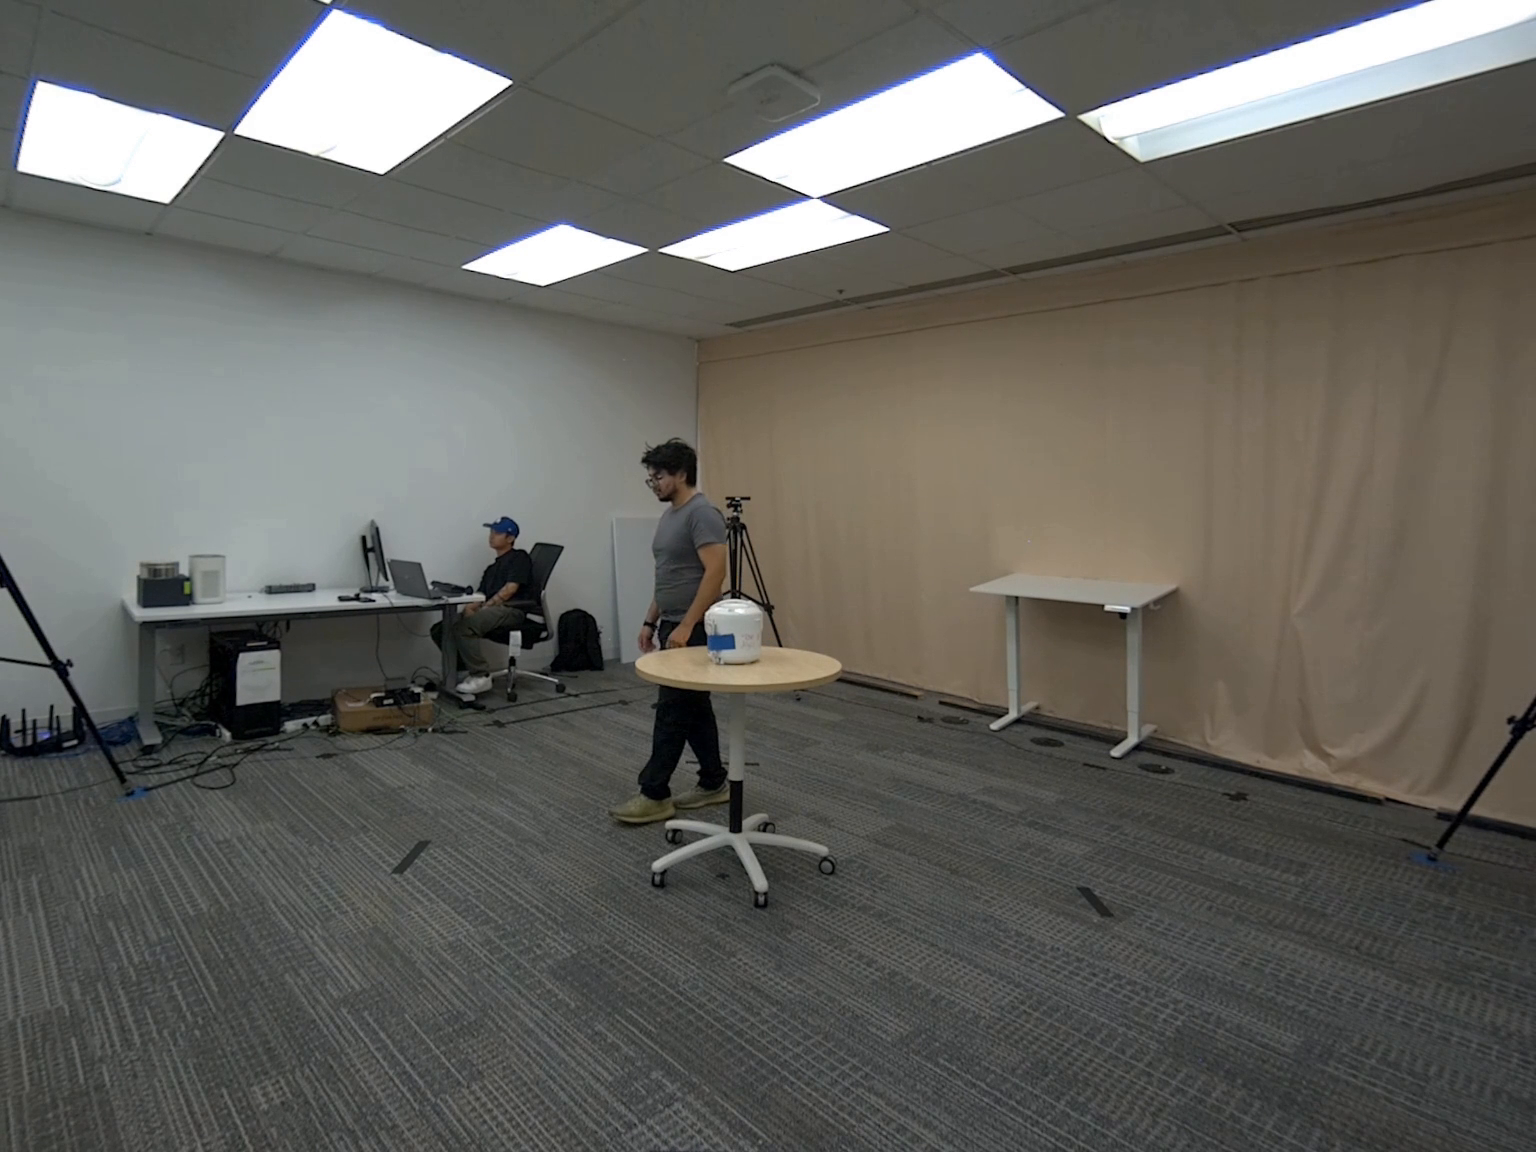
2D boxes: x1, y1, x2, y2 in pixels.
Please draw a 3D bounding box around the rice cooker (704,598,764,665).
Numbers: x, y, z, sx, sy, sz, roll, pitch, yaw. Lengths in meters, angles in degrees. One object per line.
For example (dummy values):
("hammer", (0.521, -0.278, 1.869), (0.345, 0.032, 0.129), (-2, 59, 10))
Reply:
("rice cooker", (-0.135, 0.204, 3.175), (0.220, 0.232, 0.219), (2, 3, -5))
